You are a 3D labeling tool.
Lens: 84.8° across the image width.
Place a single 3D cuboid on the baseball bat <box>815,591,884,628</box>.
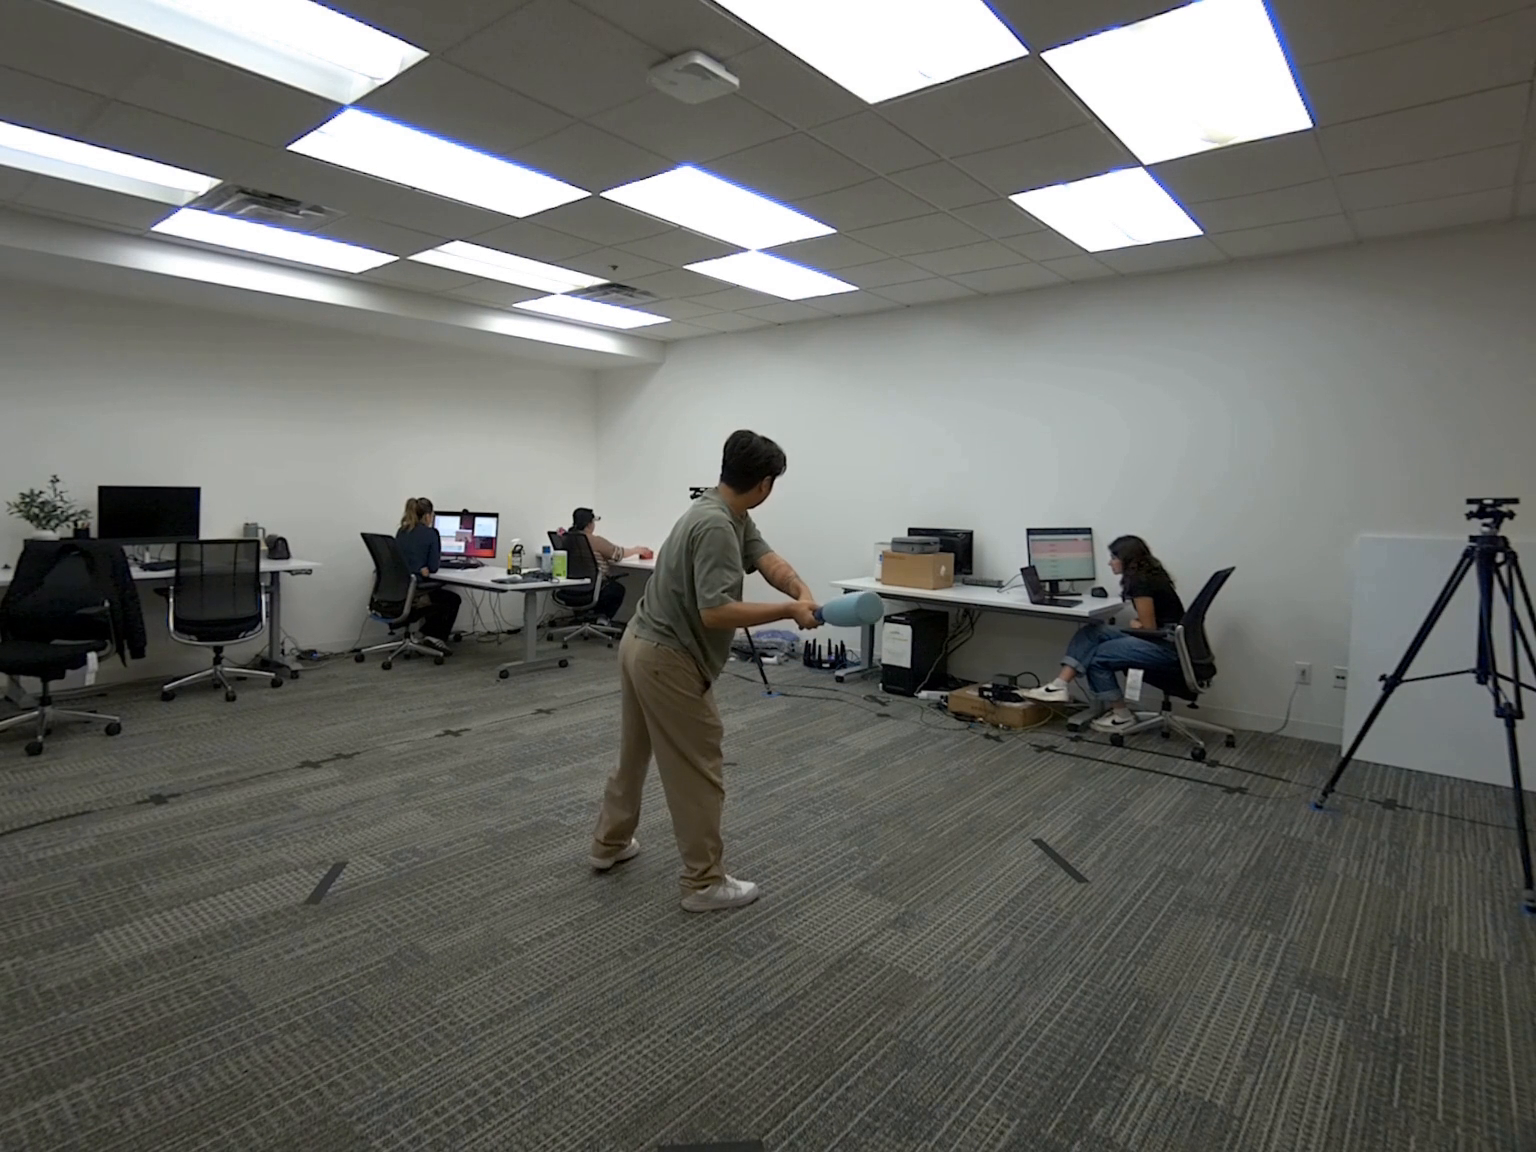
[{"bbox_3d":[0.166,0.098,2.381,0.087,0.090,0.547,0,-6,-17],"label":"baseball bat"}]
